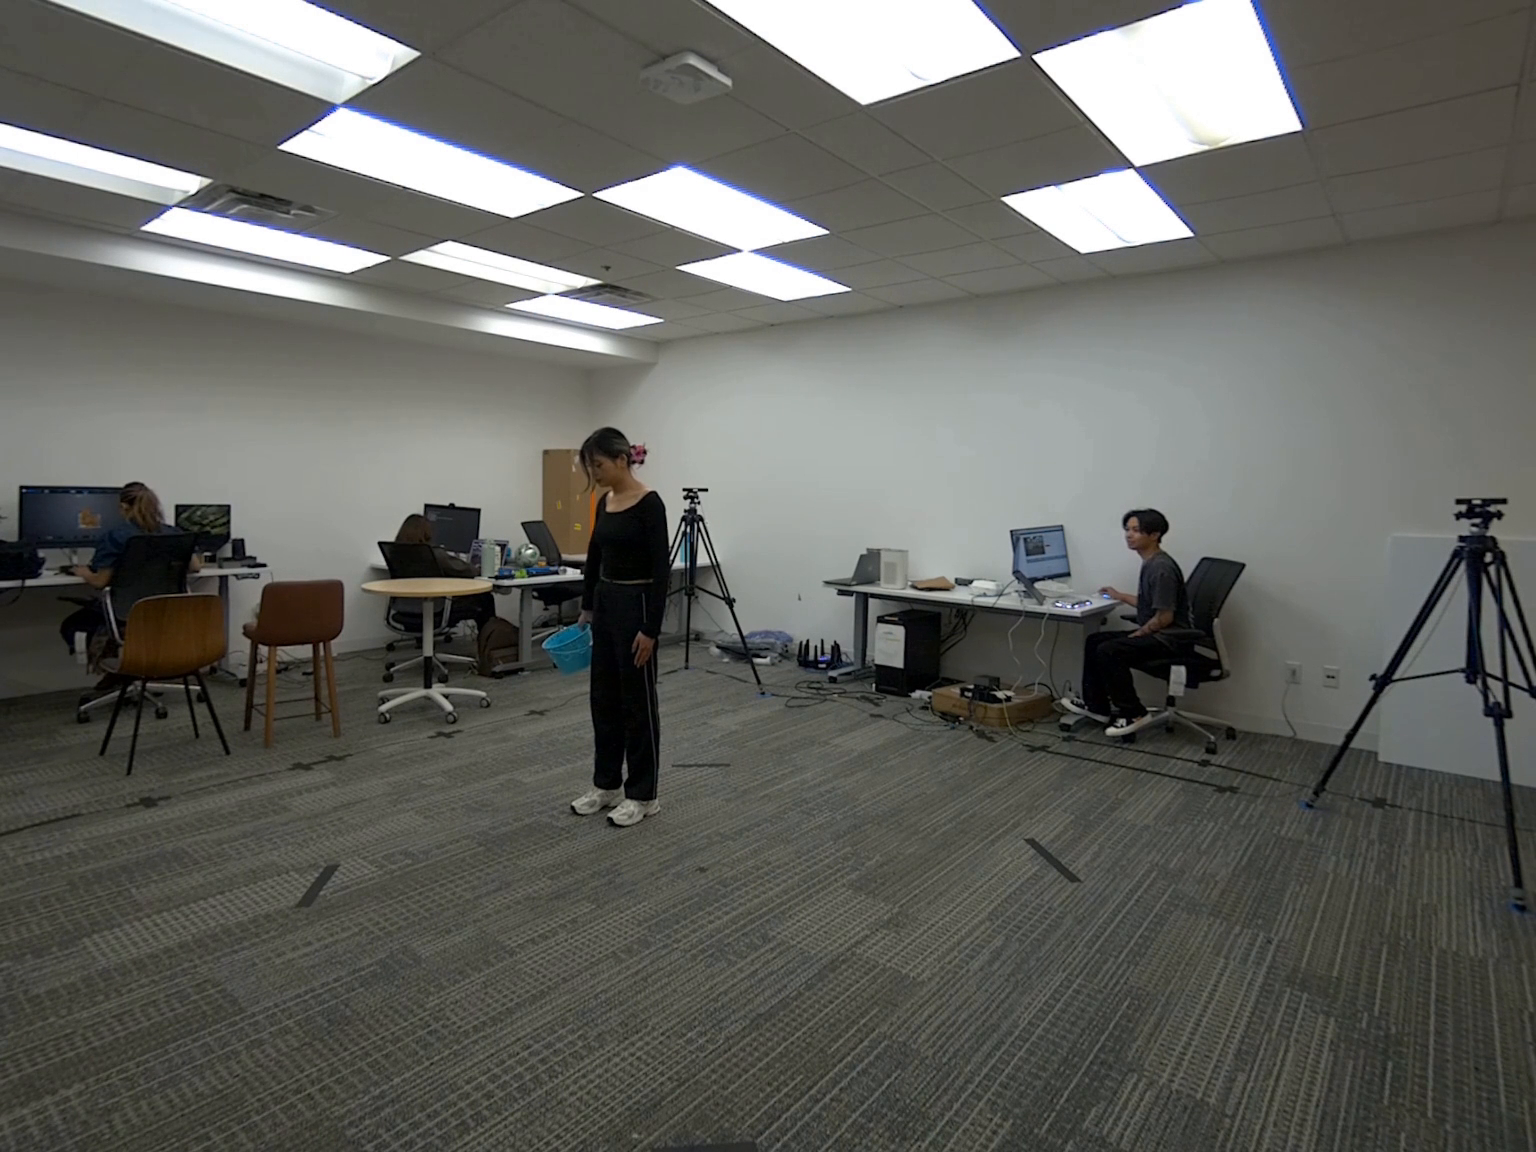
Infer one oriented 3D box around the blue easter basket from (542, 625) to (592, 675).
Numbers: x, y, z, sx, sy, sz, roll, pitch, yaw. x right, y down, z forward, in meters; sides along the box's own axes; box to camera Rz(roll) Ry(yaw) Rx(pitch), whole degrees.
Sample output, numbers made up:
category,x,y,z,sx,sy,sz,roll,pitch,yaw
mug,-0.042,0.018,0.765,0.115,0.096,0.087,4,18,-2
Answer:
category,x,y,z,sx,sy,sz,roll,pitch,yaw
blue easter basket,-0.911,0.335,3.871,0.244,0.153,0.247,-20,15,3
